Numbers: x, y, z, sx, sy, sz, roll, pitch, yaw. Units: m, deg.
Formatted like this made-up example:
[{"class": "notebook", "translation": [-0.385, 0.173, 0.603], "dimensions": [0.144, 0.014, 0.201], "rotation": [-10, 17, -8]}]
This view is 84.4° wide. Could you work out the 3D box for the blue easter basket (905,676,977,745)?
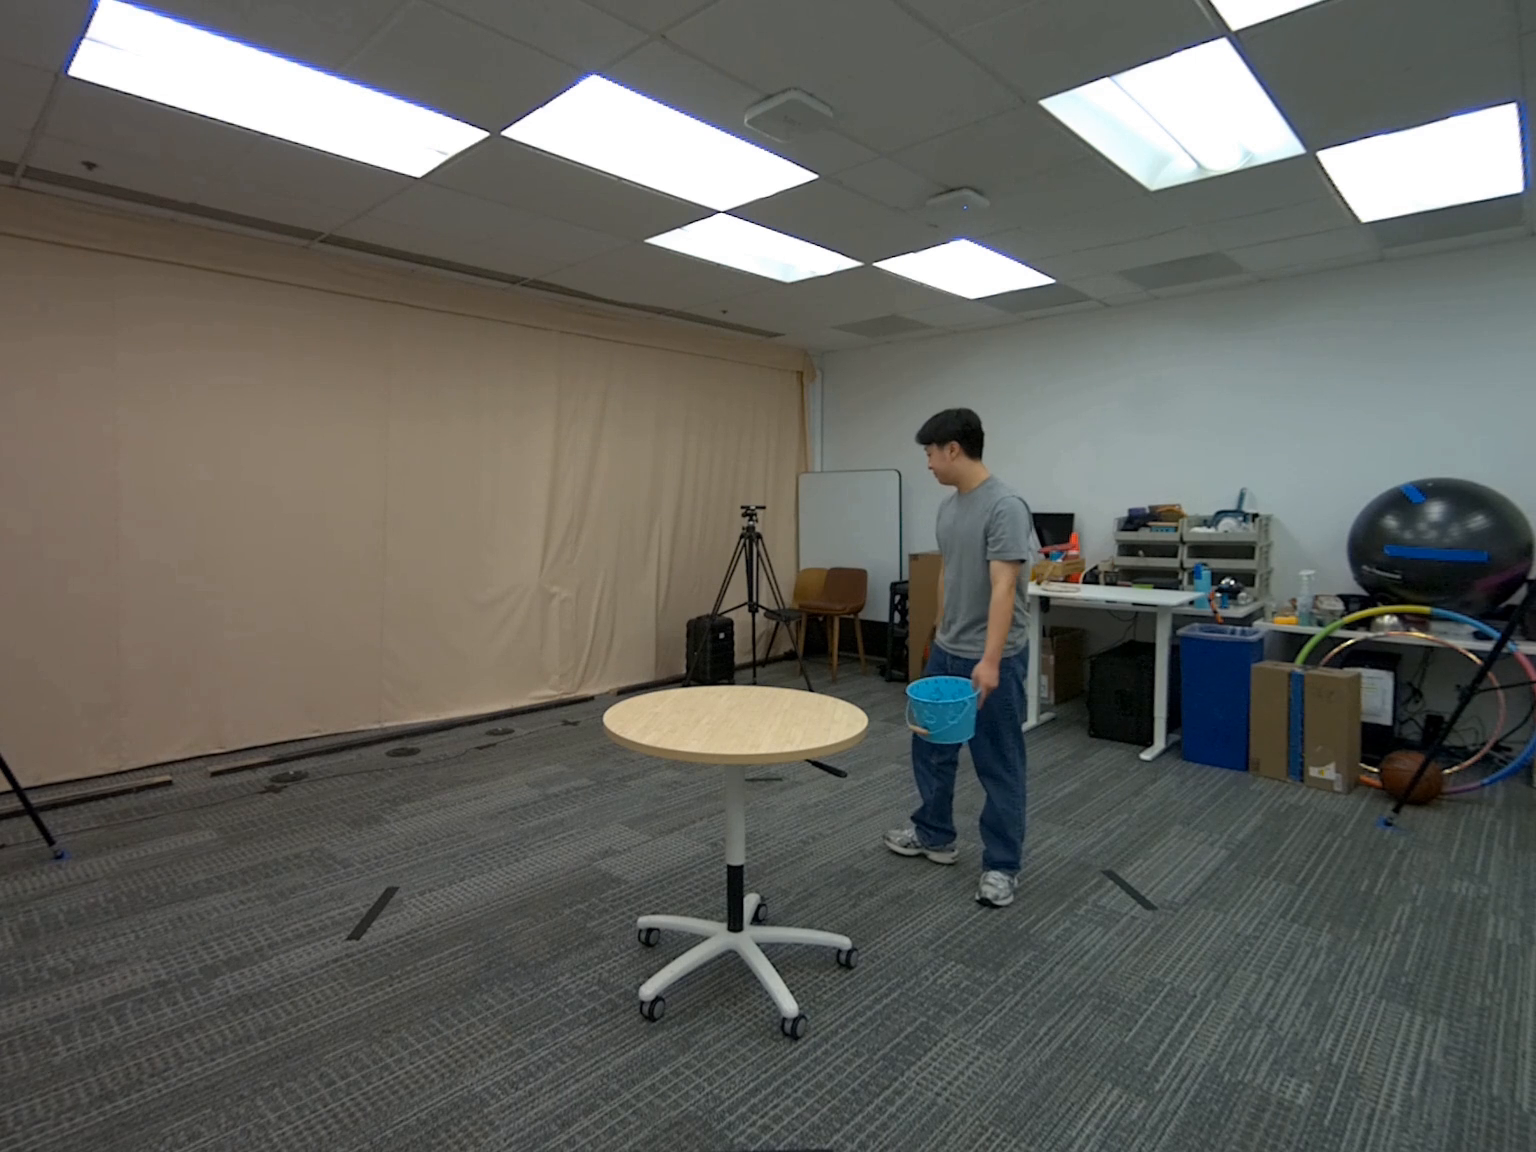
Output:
[{"class": "blue easter basket", "translation": [0.597, 0.447, 2.774], "dimensions": [0.243, 0.155, 0.245], "rotation": [-5, 10, -1]}]
